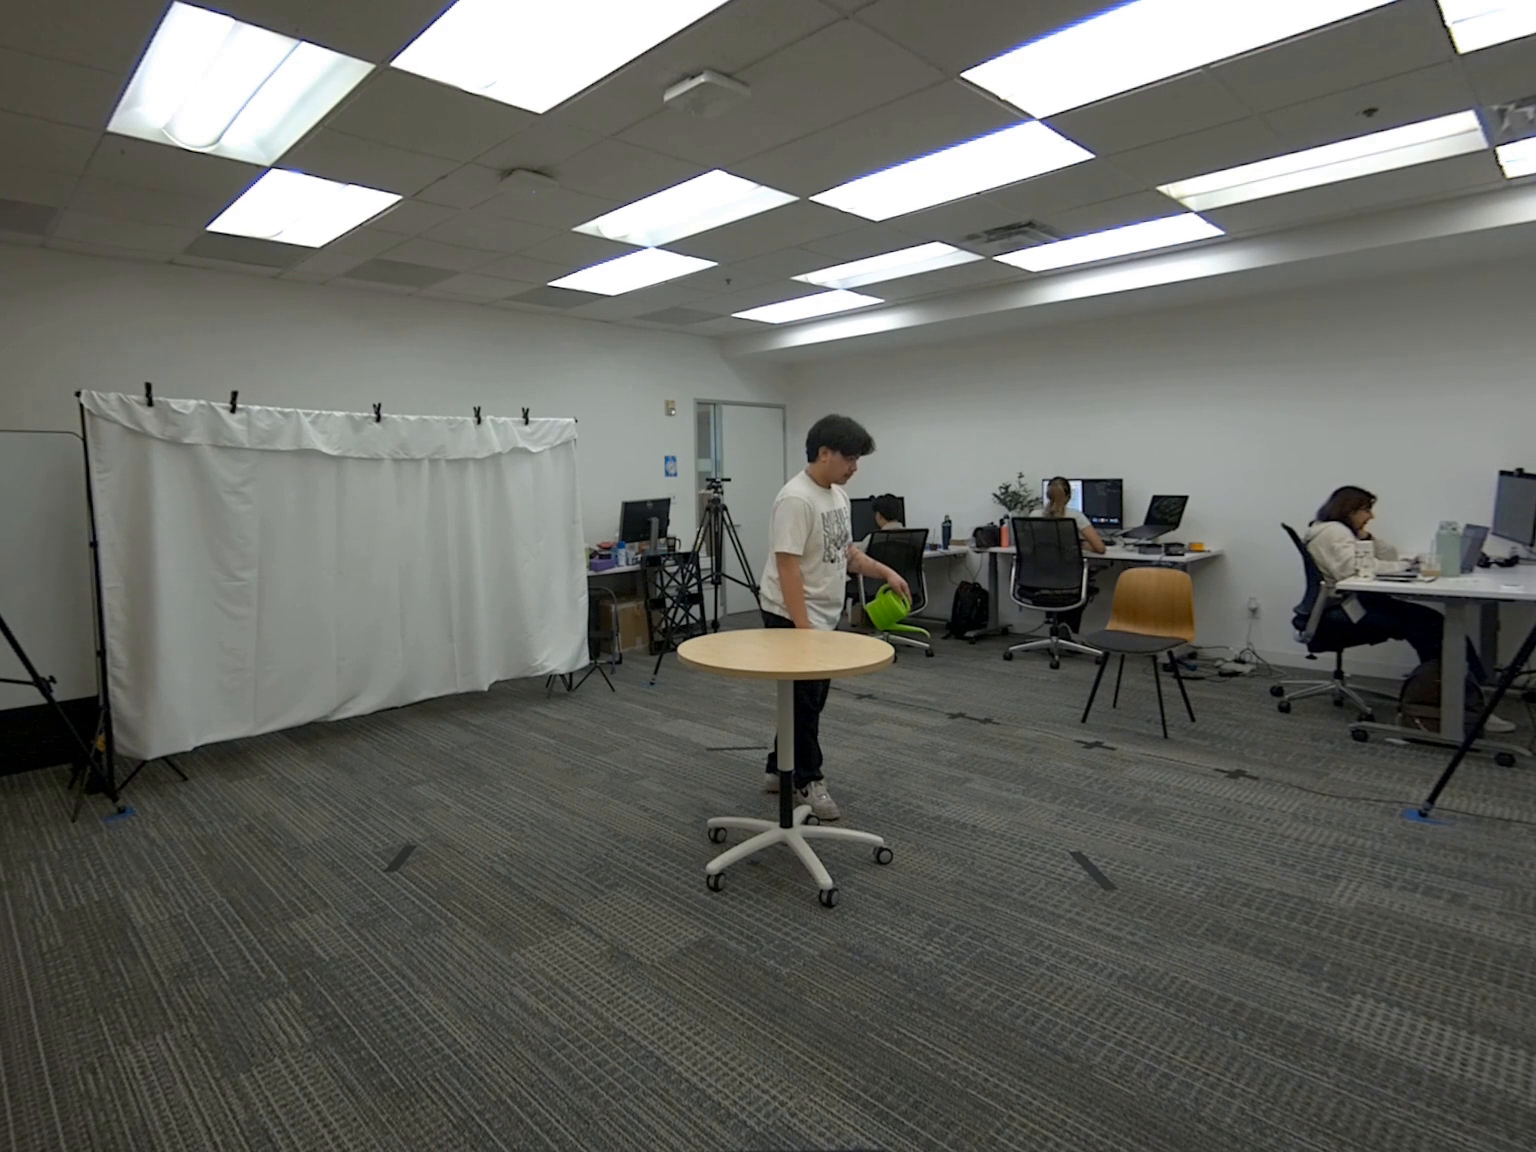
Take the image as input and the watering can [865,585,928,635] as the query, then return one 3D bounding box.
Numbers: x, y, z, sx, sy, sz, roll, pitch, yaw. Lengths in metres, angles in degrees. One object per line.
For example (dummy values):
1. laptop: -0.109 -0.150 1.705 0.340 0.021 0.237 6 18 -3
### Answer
1. watering can: 0.537 0.175 3.654 0.178 0.285 0.095 -36 -22 27
